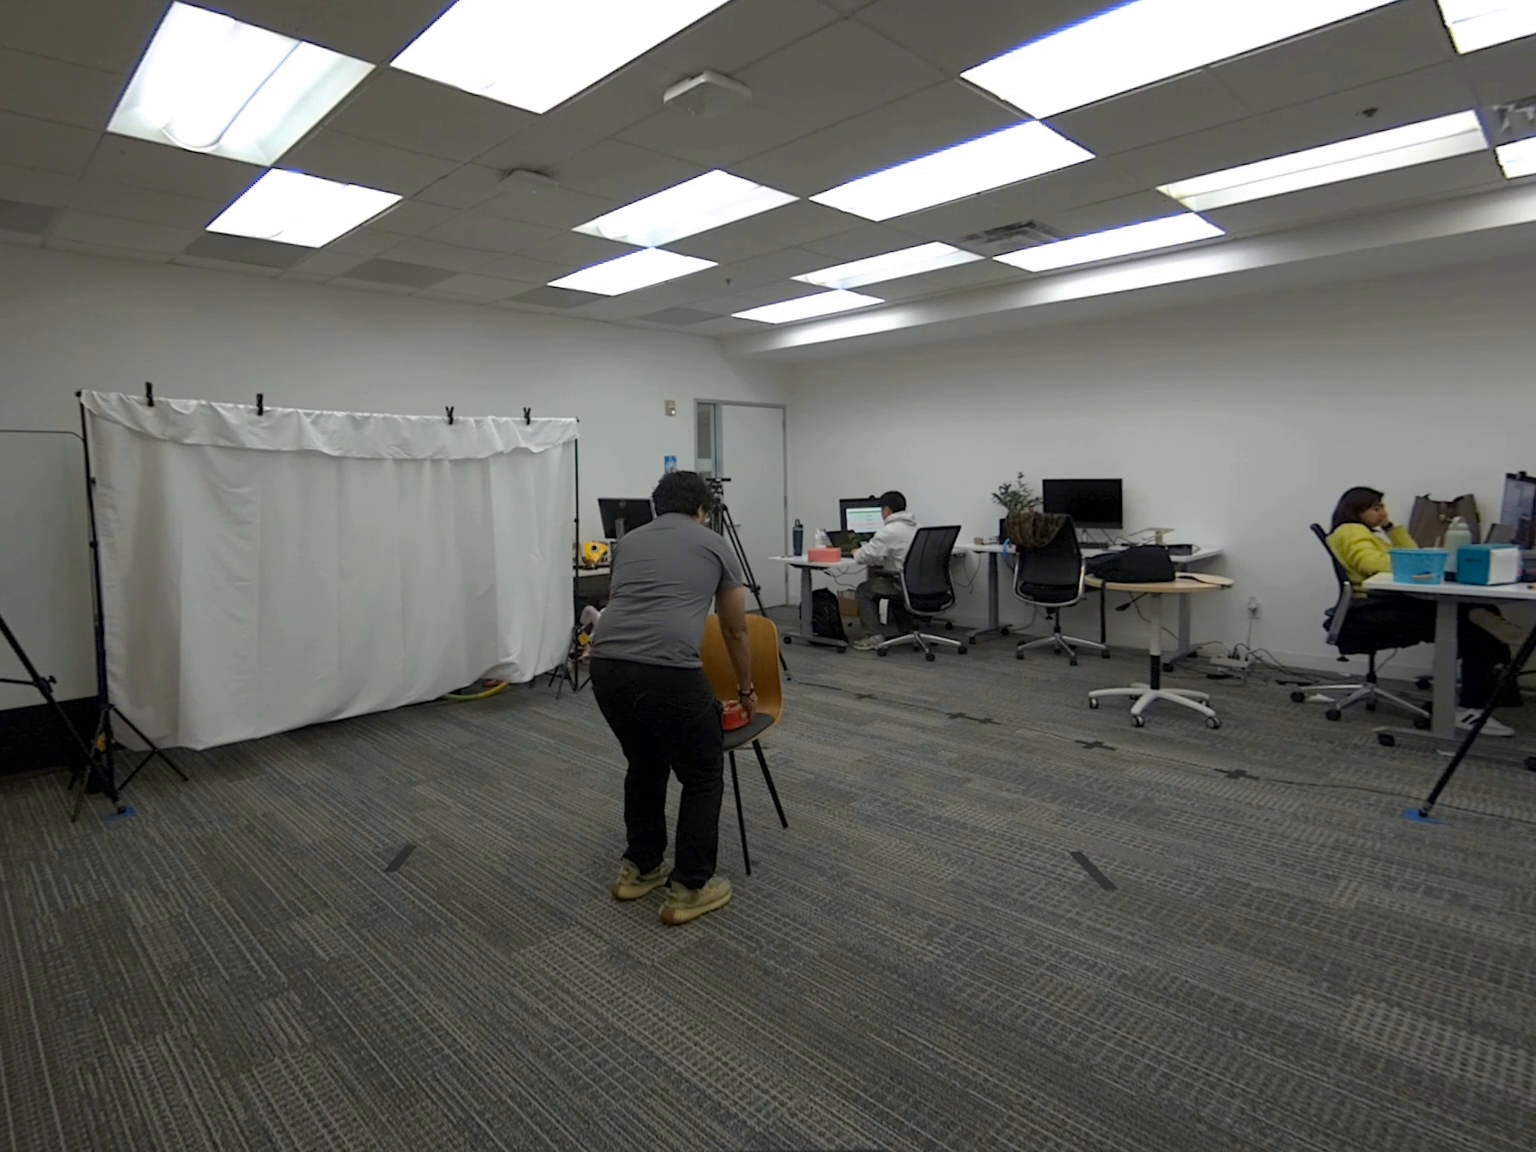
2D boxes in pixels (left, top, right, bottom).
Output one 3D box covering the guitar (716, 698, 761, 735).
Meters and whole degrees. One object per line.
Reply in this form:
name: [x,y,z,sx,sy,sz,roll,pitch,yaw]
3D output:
guitar: [-0.295,0.509,3.238,0.511,0.070,0.188,1,5,32]
